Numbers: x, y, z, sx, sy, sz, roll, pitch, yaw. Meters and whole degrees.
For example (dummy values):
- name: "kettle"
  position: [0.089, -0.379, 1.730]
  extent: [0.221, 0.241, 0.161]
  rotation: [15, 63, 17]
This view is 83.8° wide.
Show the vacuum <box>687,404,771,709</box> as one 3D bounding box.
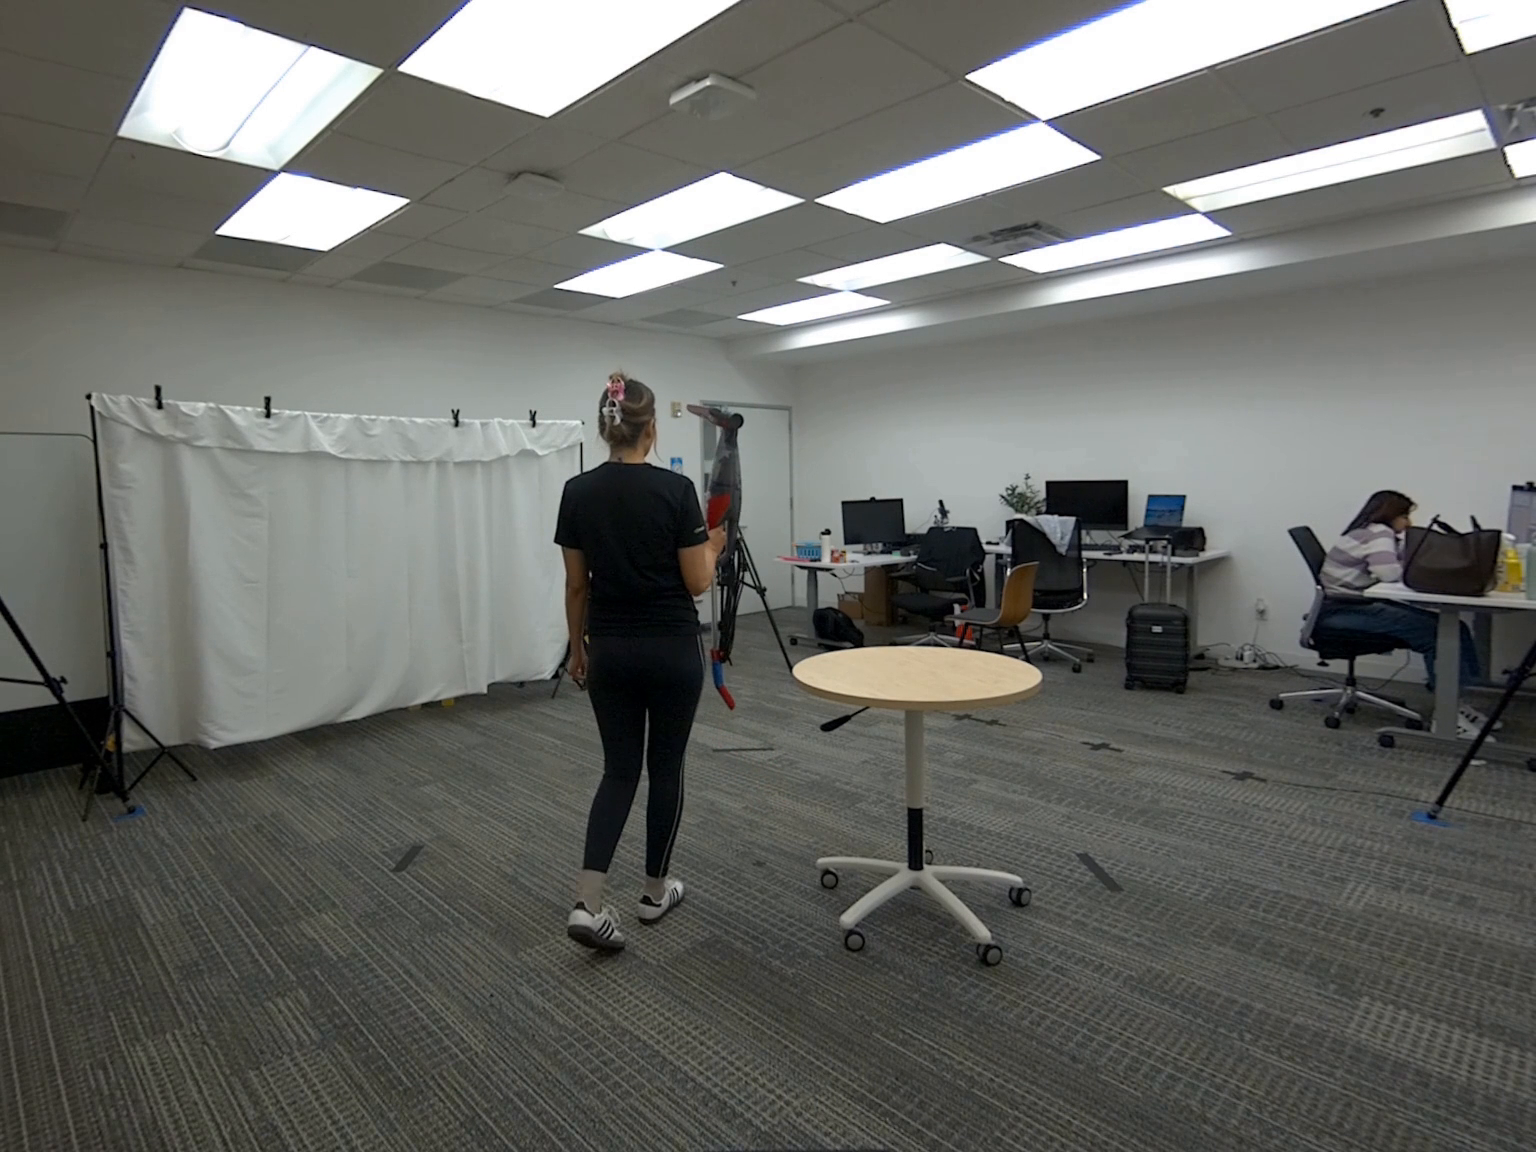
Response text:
- name: "vacuum"
  position: [-0.147, -0.039, 2.921]
  extent: [0.142, 1.036, 0.260]
  rotation: [-7, 14, -19]
